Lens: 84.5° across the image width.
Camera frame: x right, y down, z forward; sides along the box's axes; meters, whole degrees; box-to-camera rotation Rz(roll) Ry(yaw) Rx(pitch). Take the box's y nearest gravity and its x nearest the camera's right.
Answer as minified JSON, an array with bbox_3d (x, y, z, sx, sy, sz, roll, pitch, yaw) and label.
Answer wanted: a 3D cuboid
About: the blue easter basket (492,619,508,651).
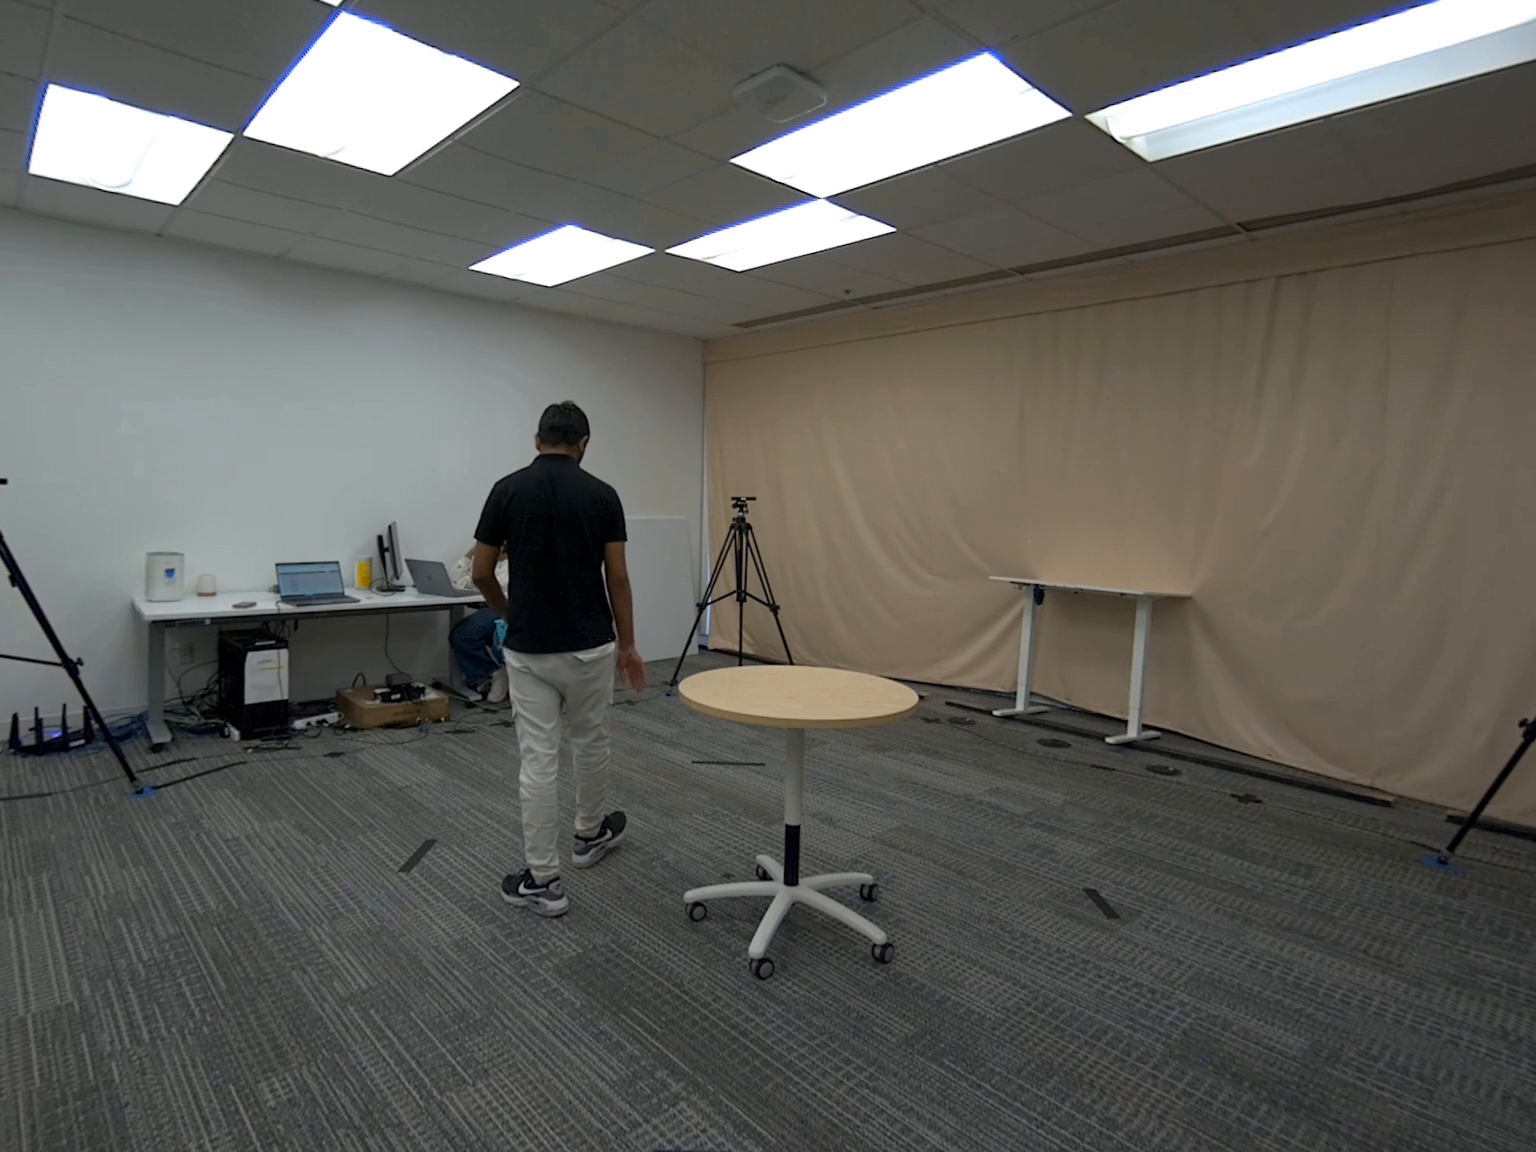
[{"bbox_3d":[-0.939,0.241,3.246,0.243,0.156,0.244,-1,1,-1],"label":"blue easter basket"}]
